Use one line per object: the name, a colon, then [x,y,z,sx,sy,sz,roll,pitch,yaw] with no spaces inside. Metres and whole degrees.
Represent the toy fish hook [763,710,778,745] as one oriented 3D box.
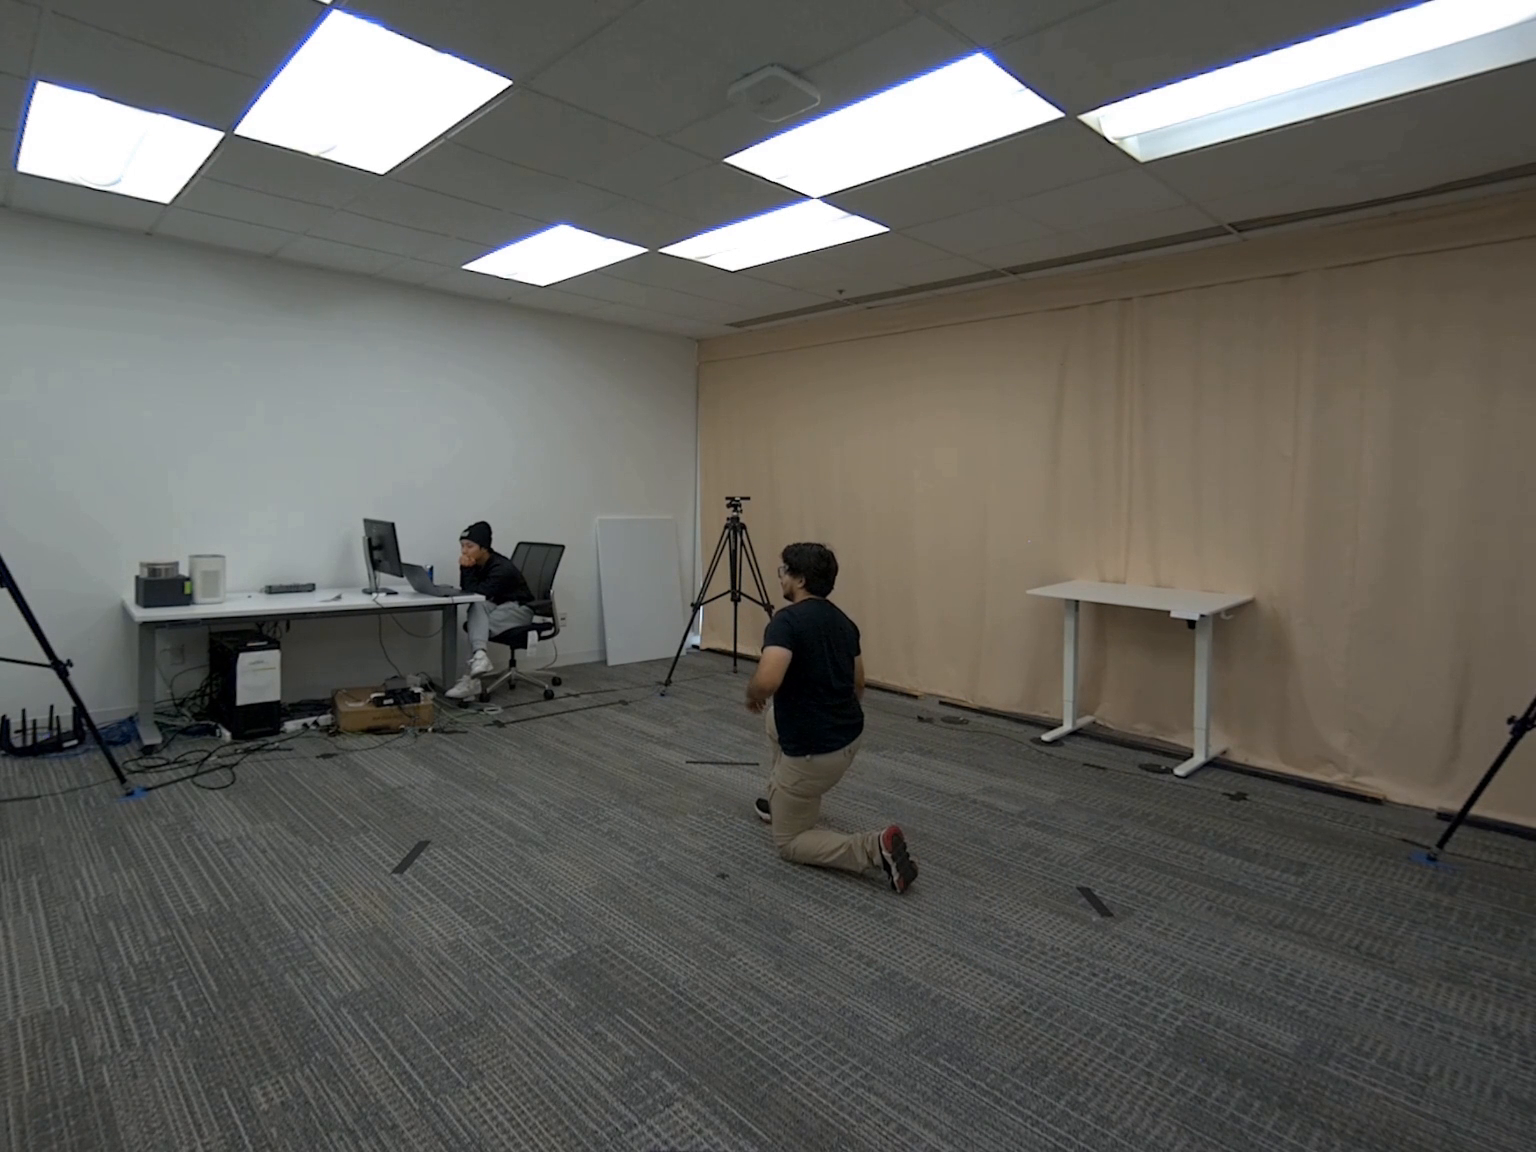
toy fish hook: [0.239,0.756,3.791,0.218,0.049,0.511,27,-39,-33]
